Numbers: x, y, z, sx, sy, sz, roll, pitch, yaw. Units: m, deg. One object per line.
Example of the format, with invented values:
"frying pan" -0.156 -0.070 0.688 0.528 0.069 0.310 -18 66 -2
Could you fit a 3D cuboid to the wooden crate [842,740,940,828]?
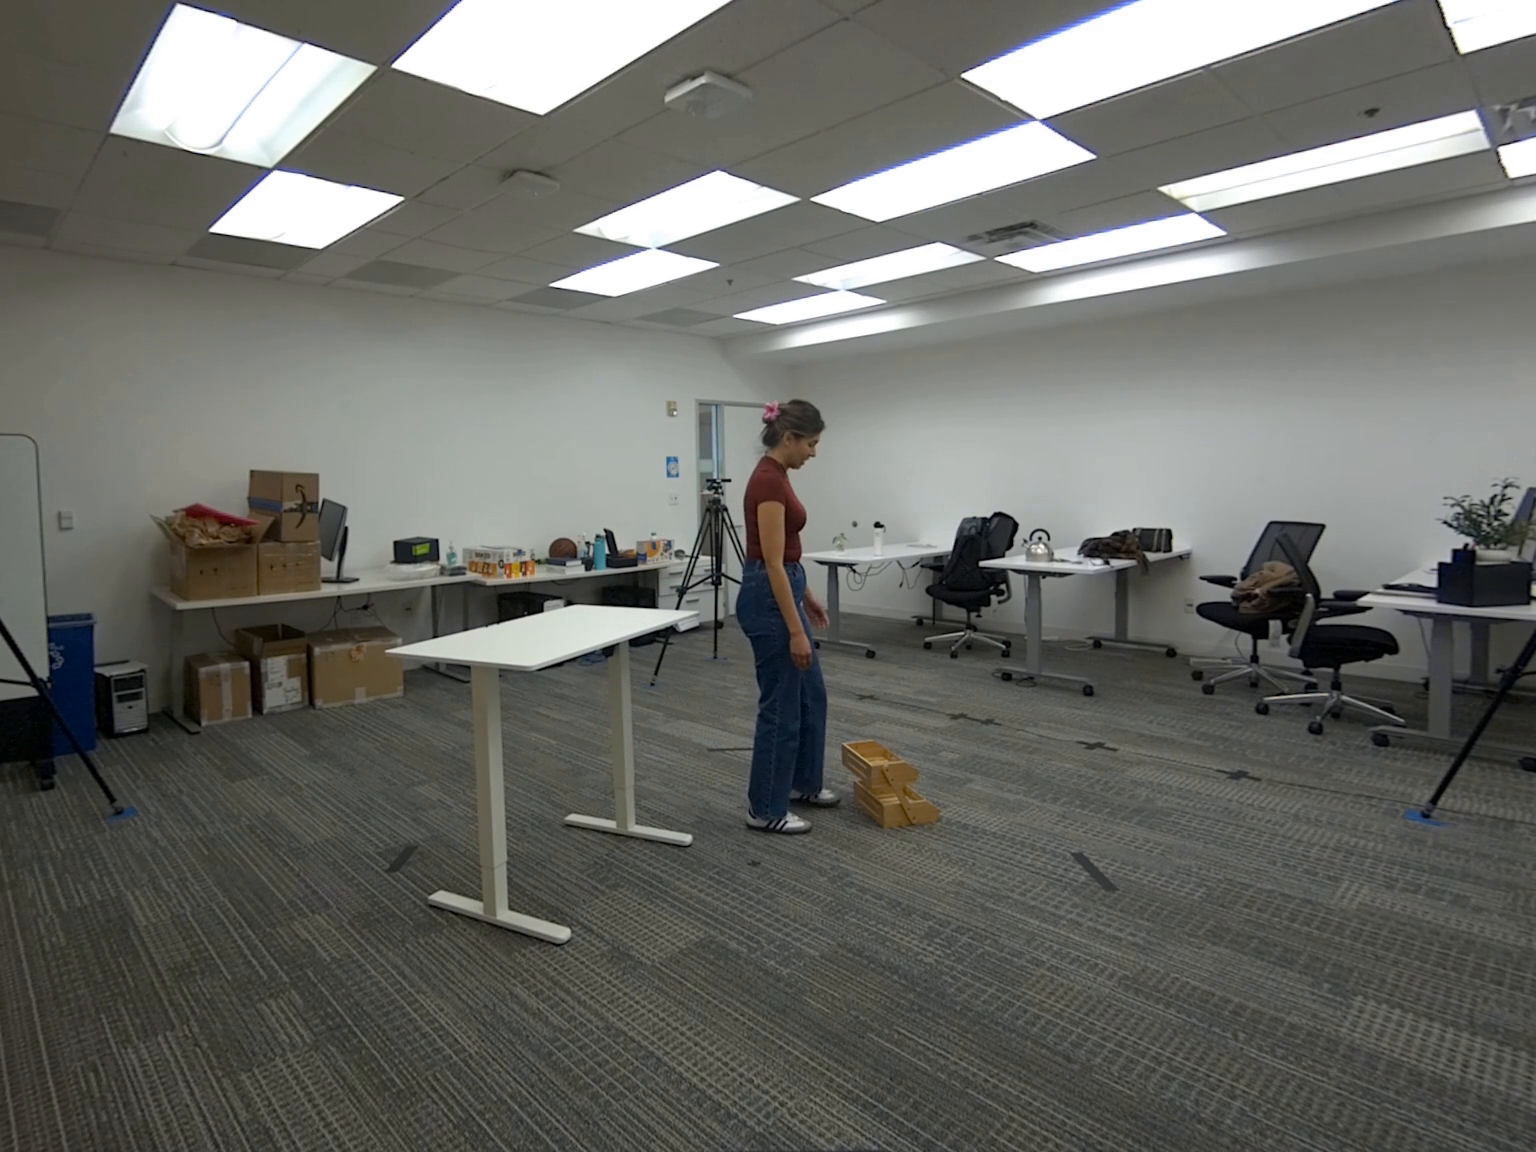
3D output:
"wooden crate" 0.504 0.844 3.557 0.298 0.272 0.330 -3 6 -16
